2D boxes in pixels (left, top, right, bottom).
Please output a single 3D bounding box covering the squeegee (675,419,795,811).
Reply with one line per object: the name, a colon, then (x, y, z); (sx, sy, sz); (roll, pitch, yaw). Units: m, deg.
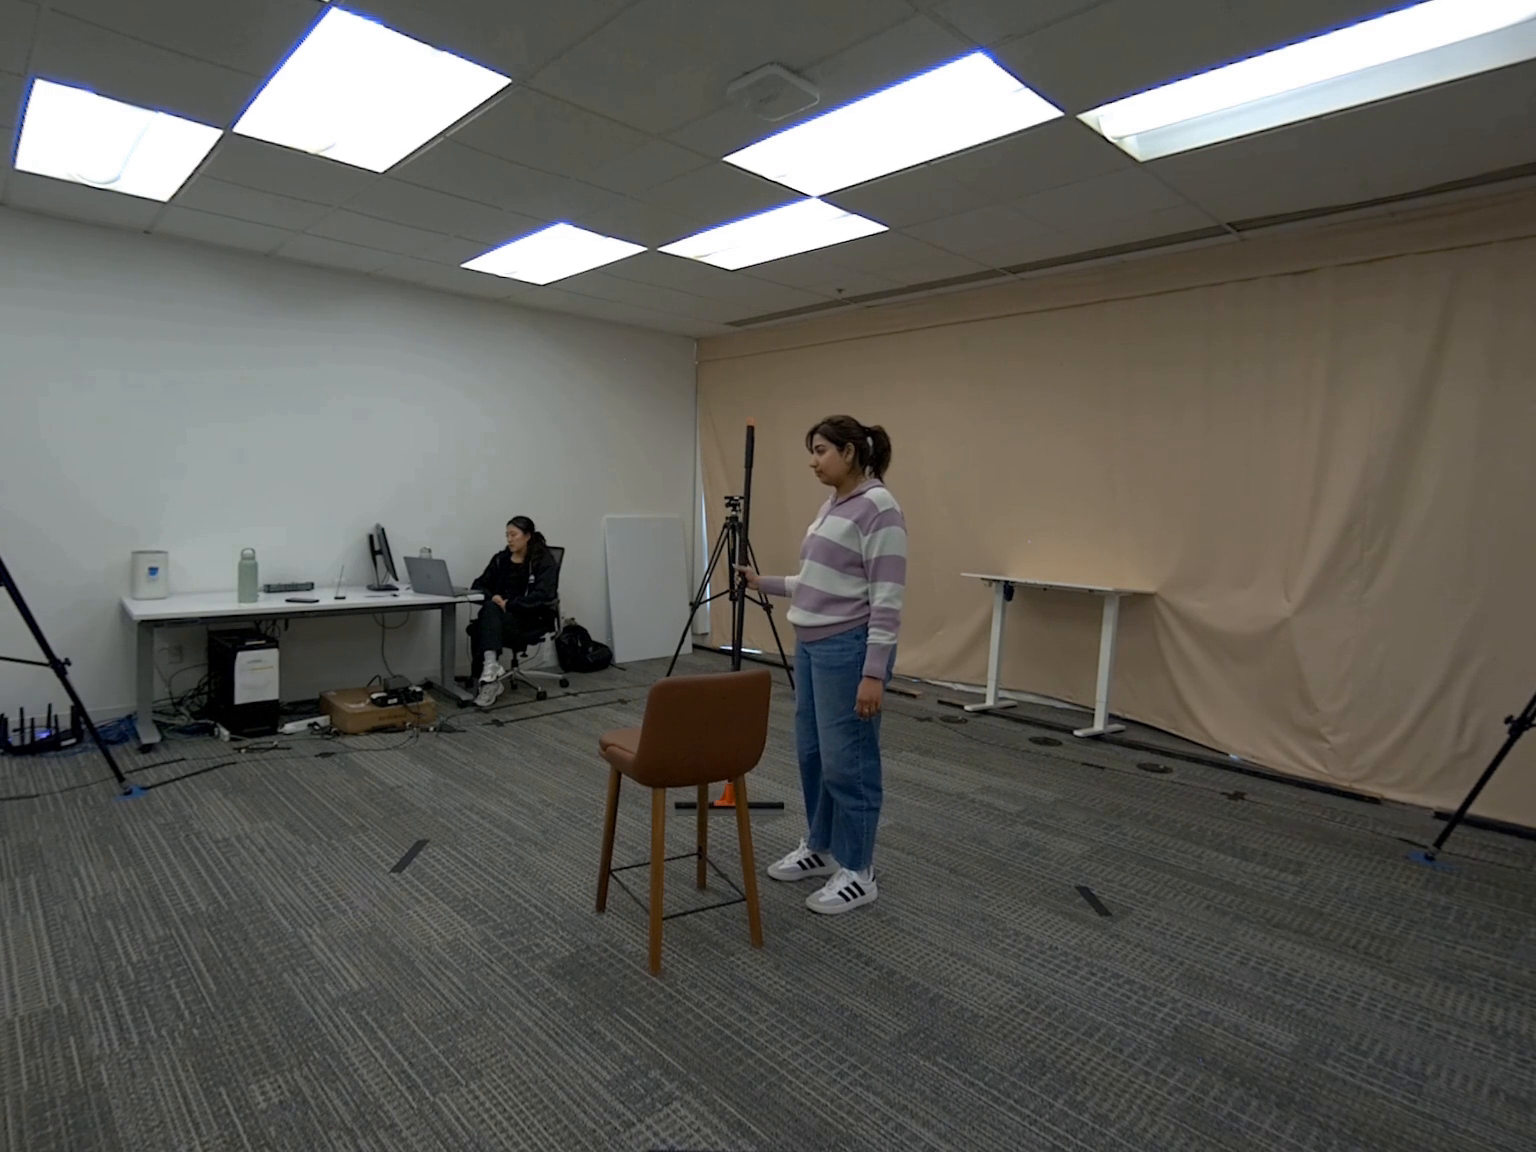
squeegee: (-0.123, 0.172, 3.279); (0.434, 1.534, 0.053); (2, 3, -10)
